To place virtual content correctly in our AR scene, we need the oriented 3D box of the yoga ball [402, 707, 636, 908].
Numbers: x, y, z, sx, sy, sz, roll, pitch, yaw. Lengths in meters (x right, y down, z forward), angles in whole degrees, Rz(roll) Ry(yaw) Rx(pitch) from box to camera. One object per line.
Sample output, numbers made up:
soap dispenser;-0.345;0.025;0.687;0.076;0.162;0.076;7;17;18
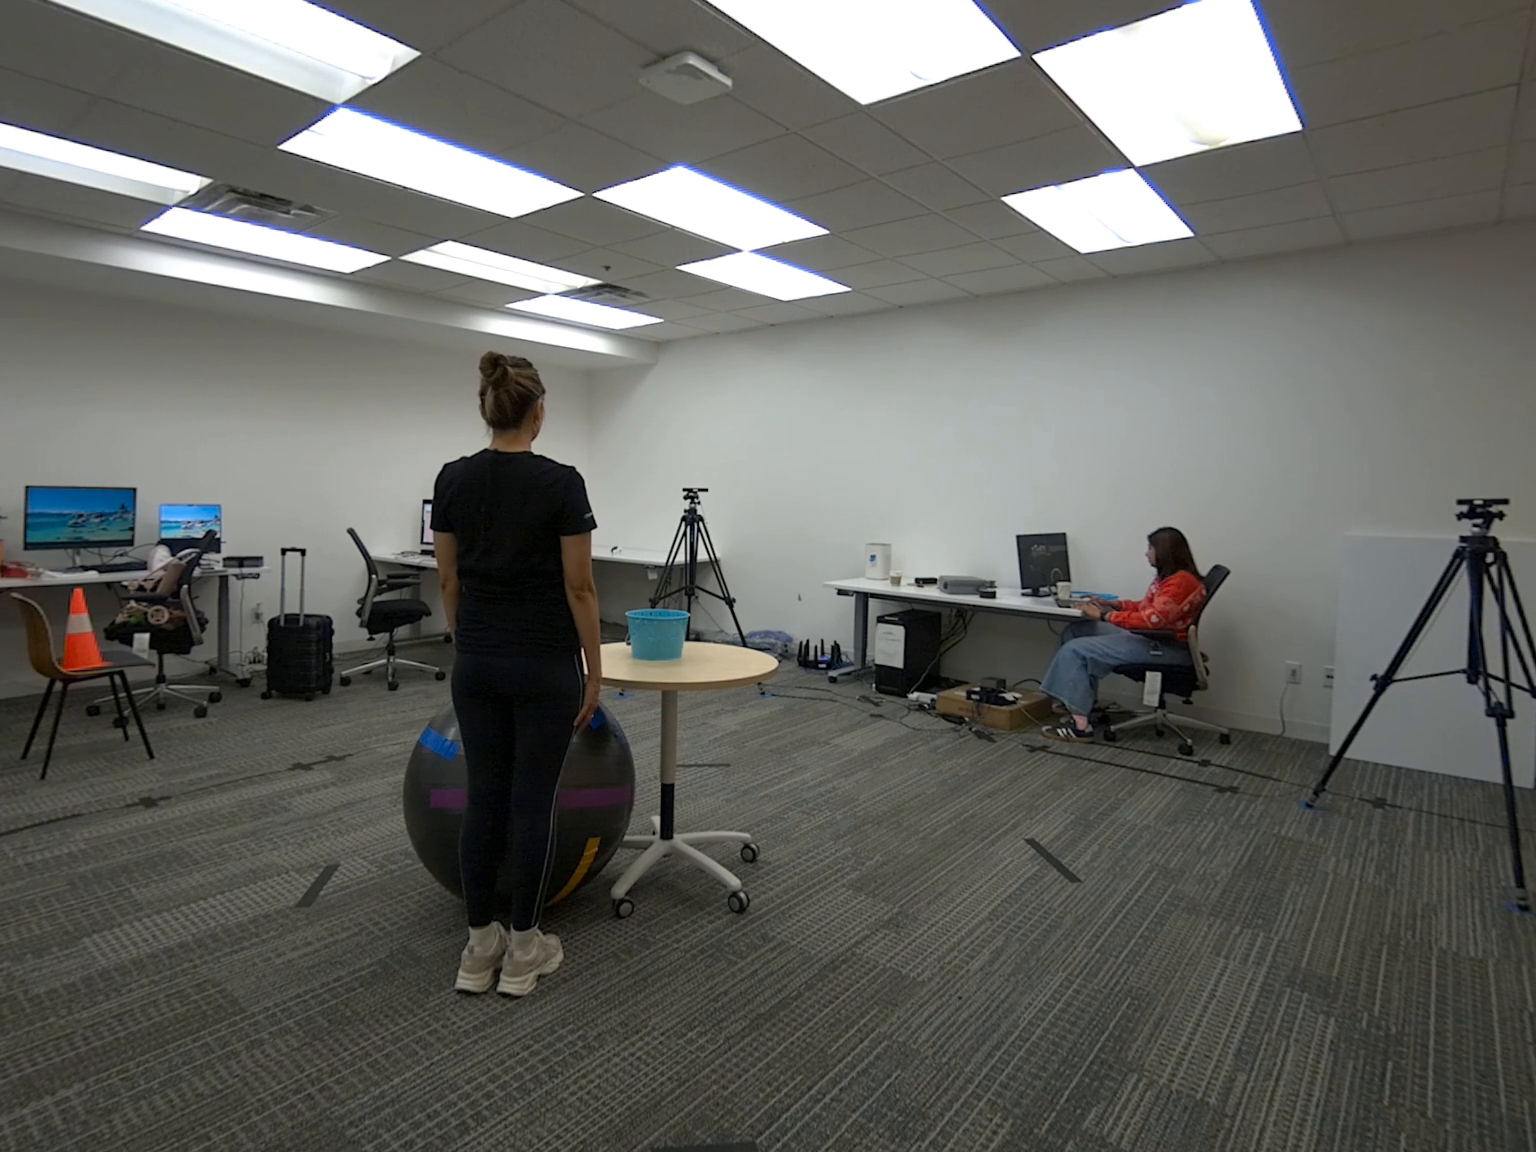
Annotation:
yoga ball;-0.848;0.719;2.852;0.757;0.756;0.761;1;4;-2
